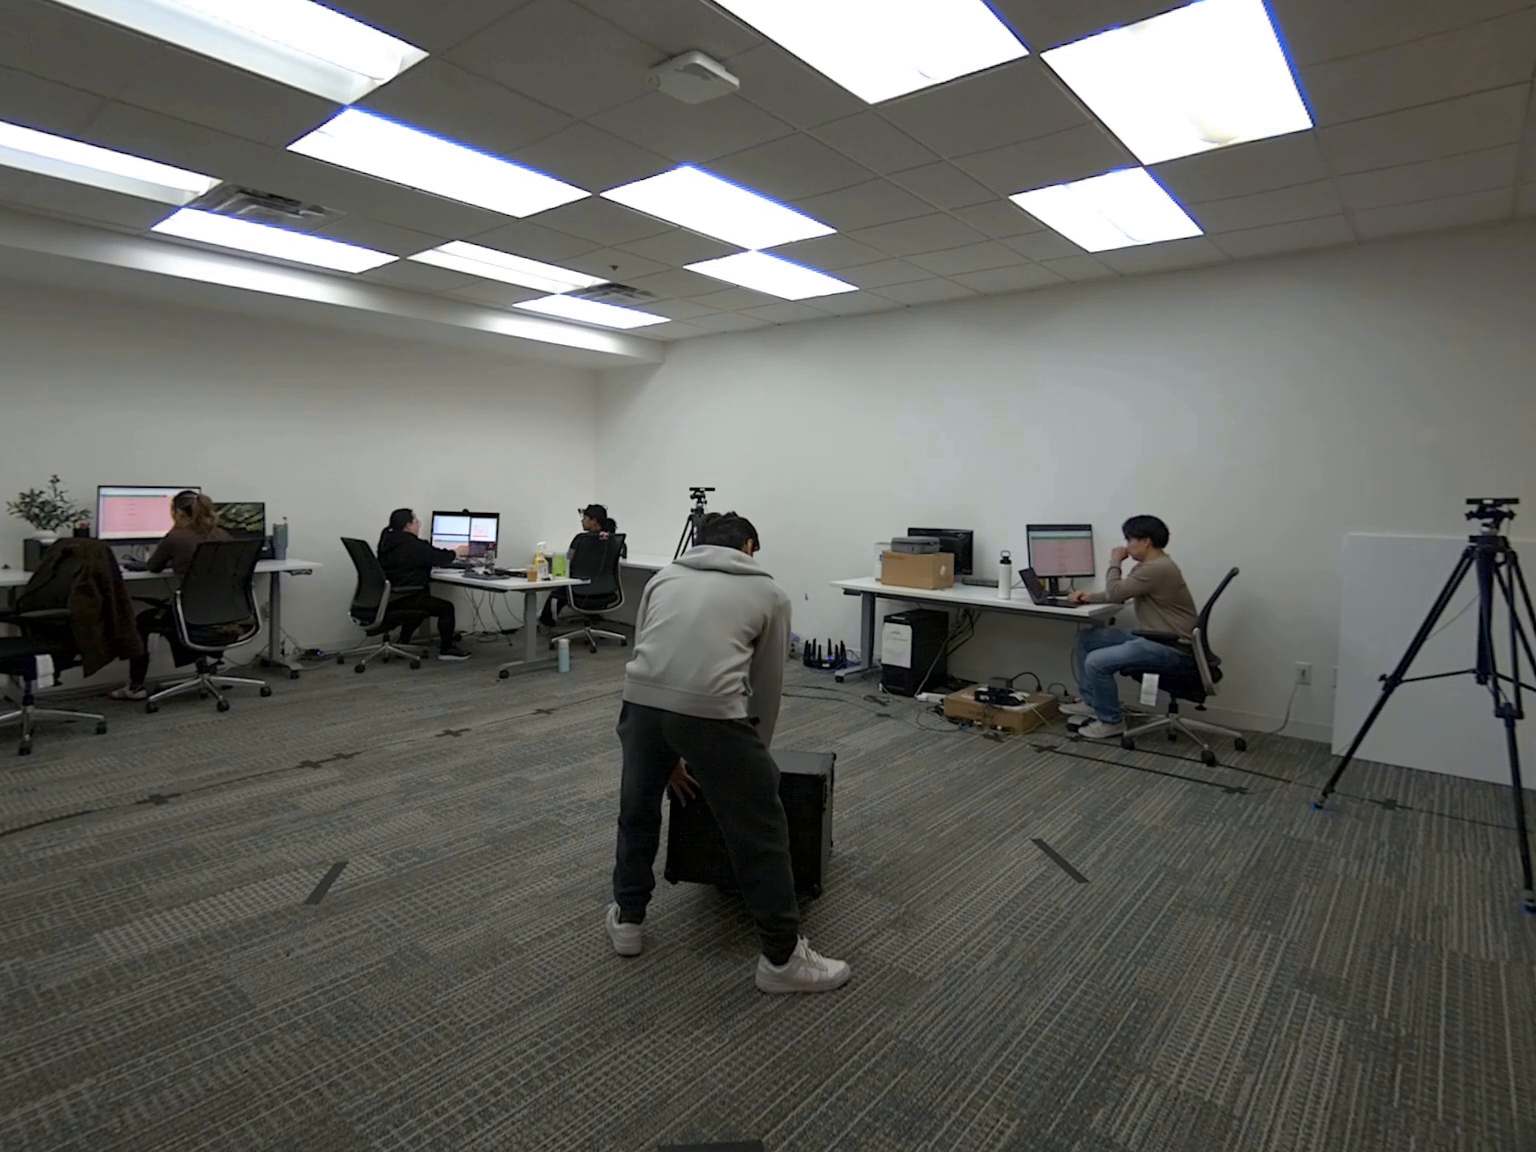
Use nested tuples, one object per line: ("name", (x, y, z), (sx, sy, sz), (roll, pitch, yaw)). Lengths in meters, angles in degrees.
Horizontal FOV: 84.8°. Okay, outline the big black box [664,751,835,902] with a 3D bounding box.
("big black box", (-0.024, 0.826, 3.020), (0.527, 0.399, 0.847), (1, -6, 8))
